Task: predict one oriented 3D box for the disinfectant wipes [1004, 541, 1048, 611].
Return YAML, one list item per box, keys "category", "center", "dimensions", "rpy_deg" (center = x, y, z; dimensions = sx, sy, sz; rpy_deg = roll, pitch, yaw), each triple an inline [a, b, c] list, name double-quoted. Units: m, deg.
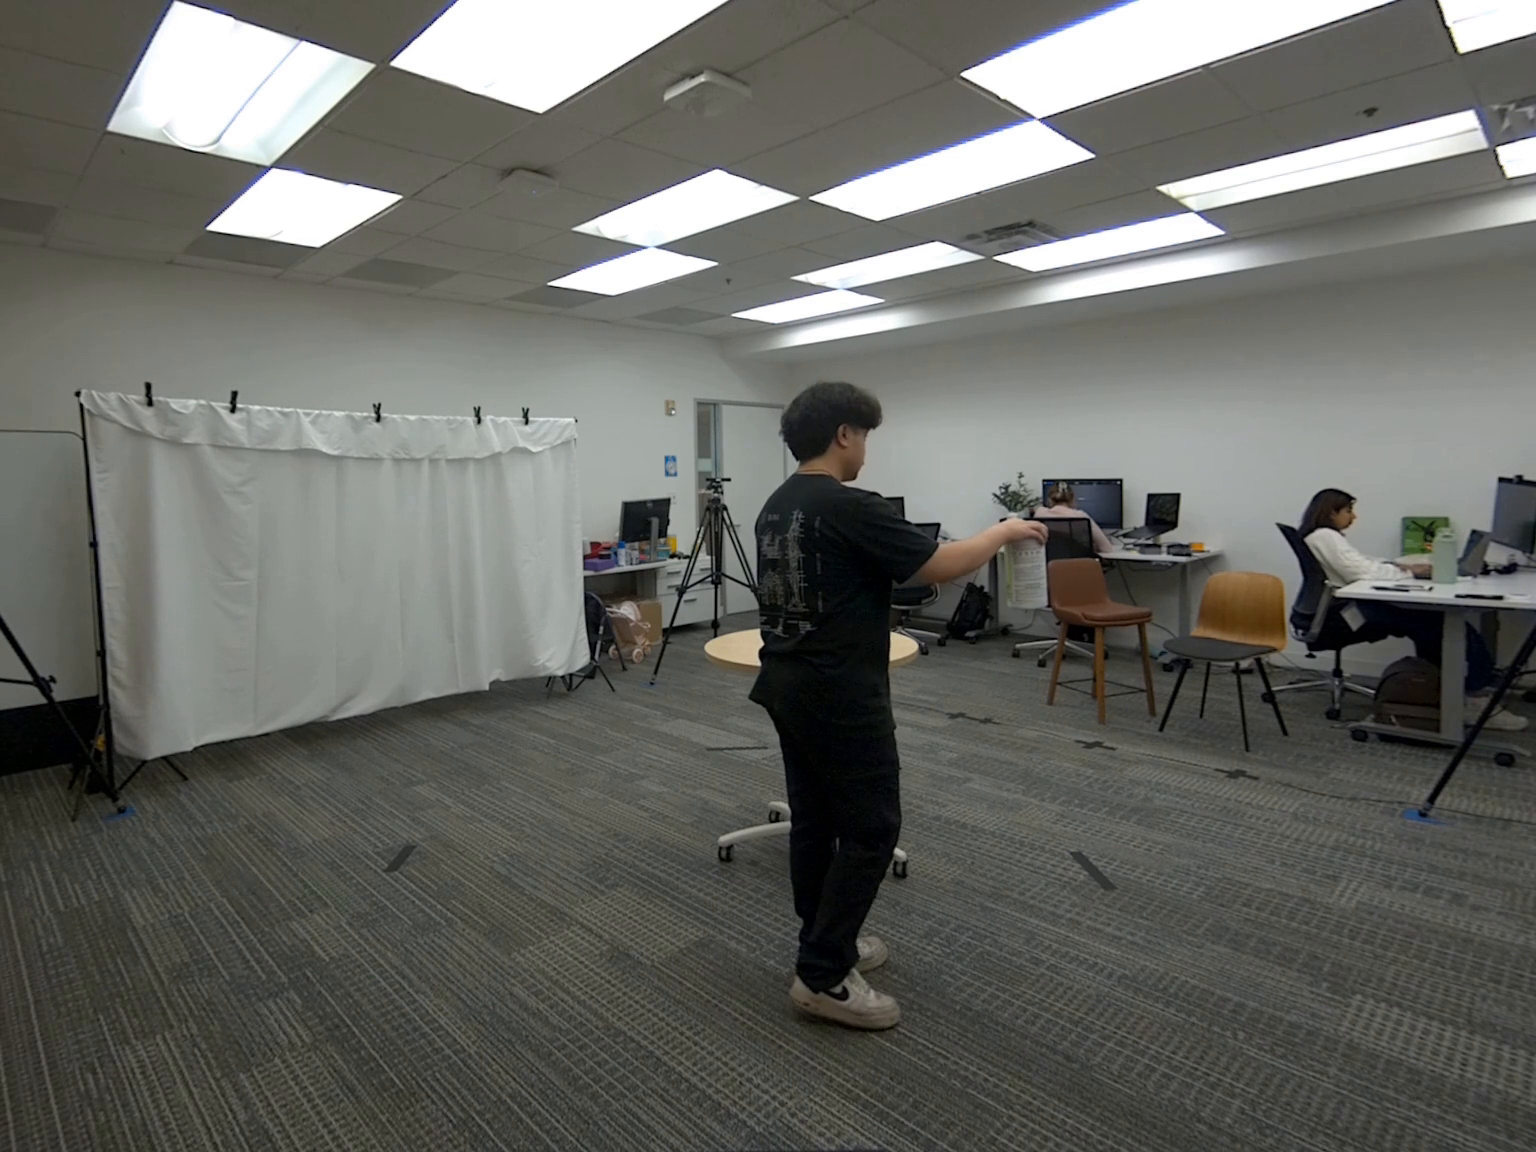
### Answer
- category: "disinfectant wipes"
  center: [0.723, -0.018, 2.390]
  dimensions: [0.118, 0.216, 0.119]
  rpy_deg: [-5, 7, -1]
